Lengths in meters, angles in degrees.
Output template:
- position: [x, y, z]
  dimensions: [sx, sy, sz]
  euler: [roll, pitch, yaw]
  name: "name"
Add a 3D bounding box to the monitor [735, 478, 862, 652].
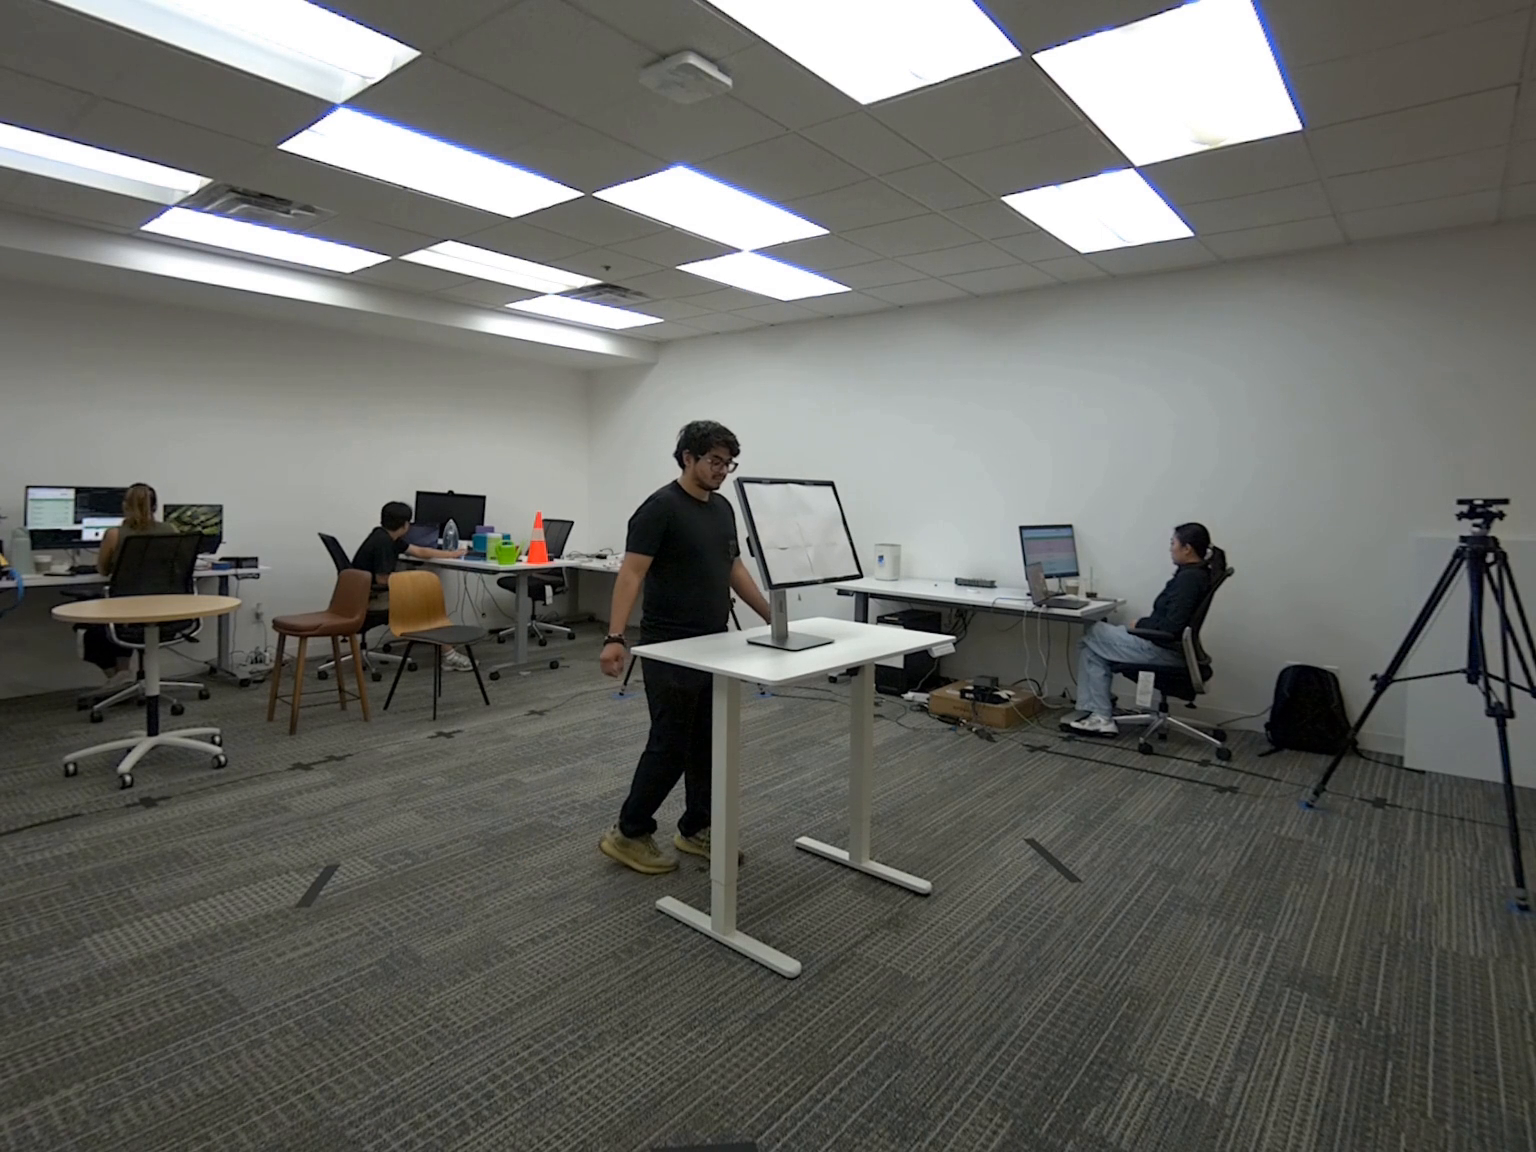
- position: [0.054, -0.049, 2.829]
  dimensions: [0.215, 0.556, 0.549]
  euler: [-10, -3, 37]
  name: "monitor"
